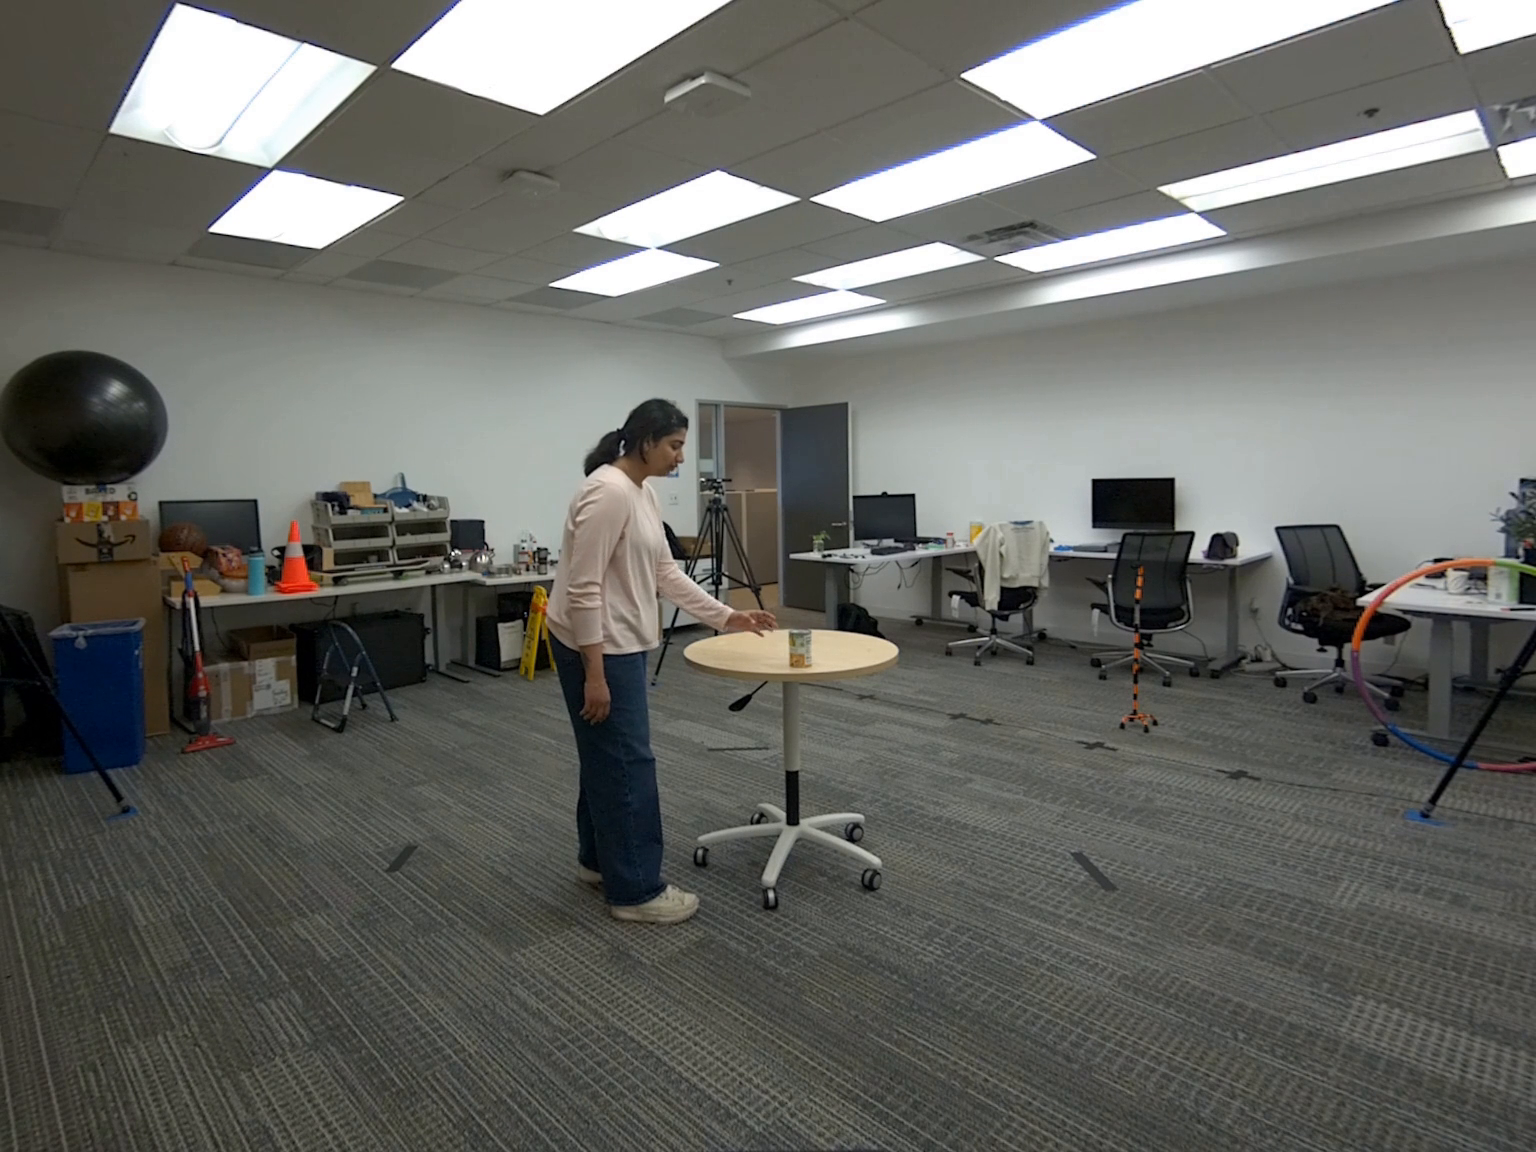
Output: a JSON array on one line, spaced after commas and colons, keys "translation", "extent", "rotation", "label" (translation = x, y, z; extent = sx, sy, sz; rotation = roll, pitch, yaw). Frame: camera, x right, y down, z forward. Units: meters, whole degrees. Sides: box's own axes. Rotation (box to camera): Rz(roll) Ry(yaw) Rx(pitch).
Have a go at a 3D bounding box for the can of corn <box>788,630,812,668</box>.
[{"translation": [0.103, 0.235, 2.791], "extent": [0.074, 0.110, 0.074], "rotation": [-2, 5, -2], "label": "can of corn"}]
